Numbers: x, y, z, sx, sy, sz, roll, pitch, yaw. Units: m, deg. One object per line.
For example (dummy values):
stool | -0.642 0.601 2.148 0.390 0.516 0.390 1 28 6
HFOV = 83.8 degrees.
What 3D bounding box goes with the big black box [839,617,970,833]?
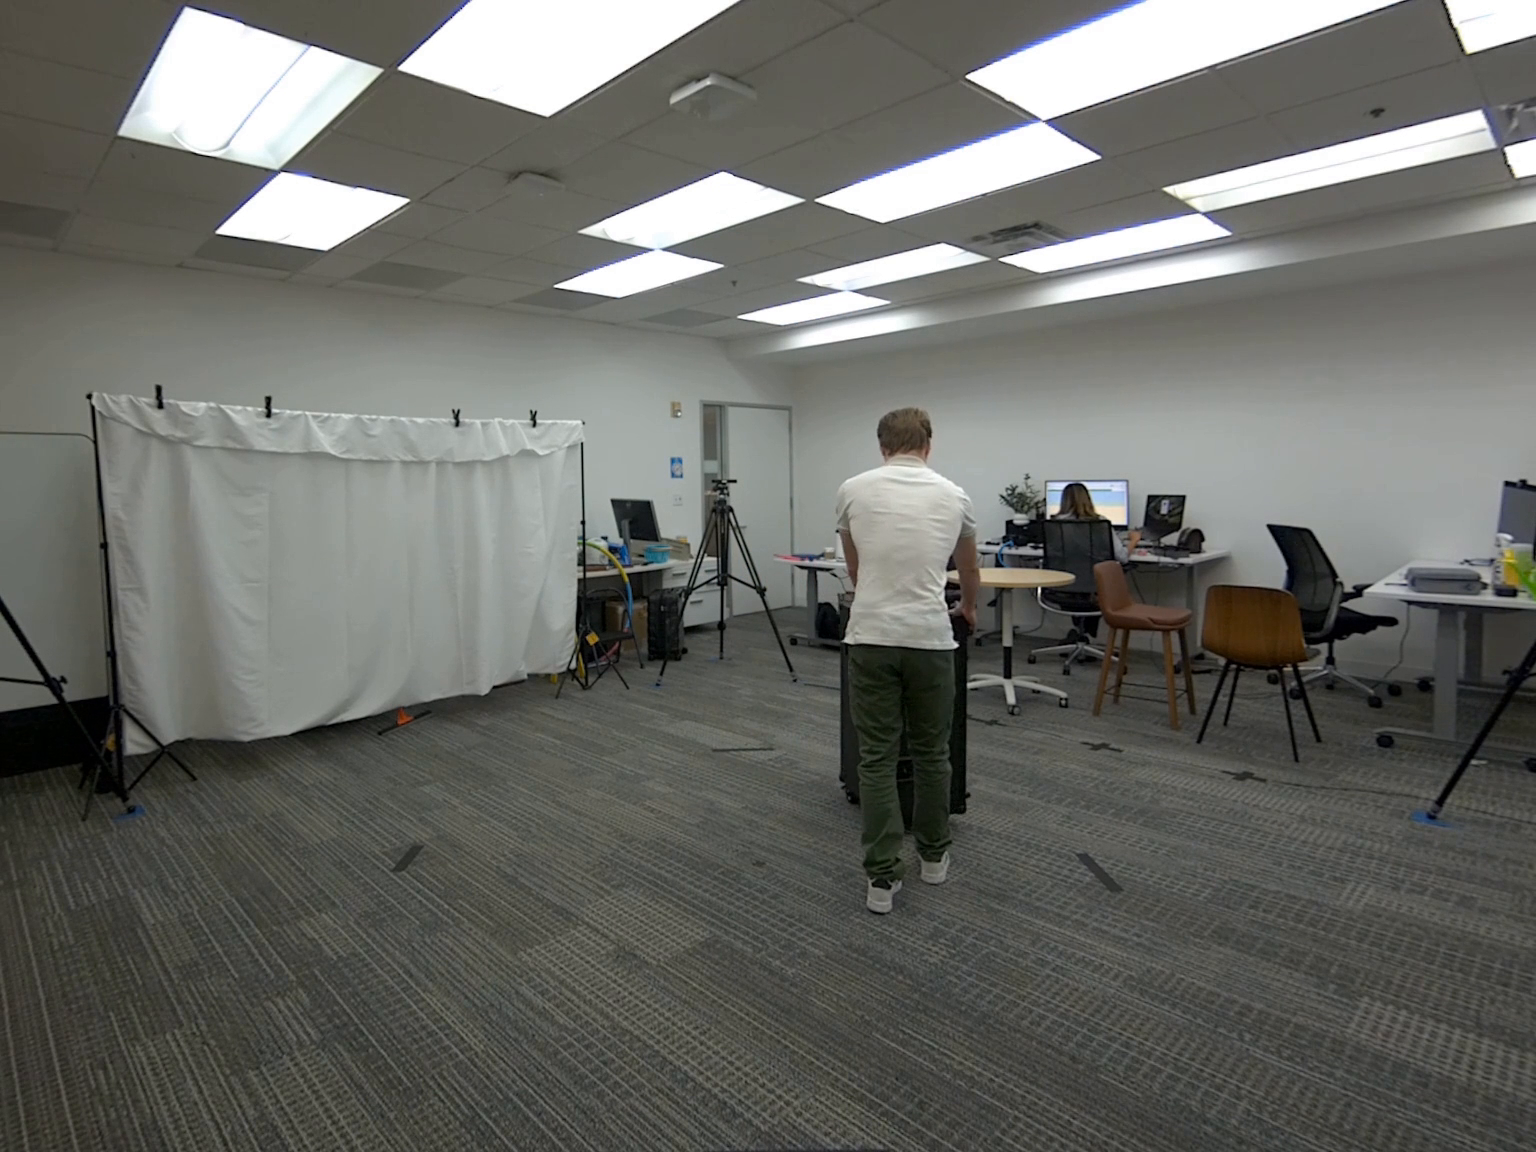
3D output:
big black box | 0.550 0.569 3.549 0.380 0.866 0.532 -1 4 -14
